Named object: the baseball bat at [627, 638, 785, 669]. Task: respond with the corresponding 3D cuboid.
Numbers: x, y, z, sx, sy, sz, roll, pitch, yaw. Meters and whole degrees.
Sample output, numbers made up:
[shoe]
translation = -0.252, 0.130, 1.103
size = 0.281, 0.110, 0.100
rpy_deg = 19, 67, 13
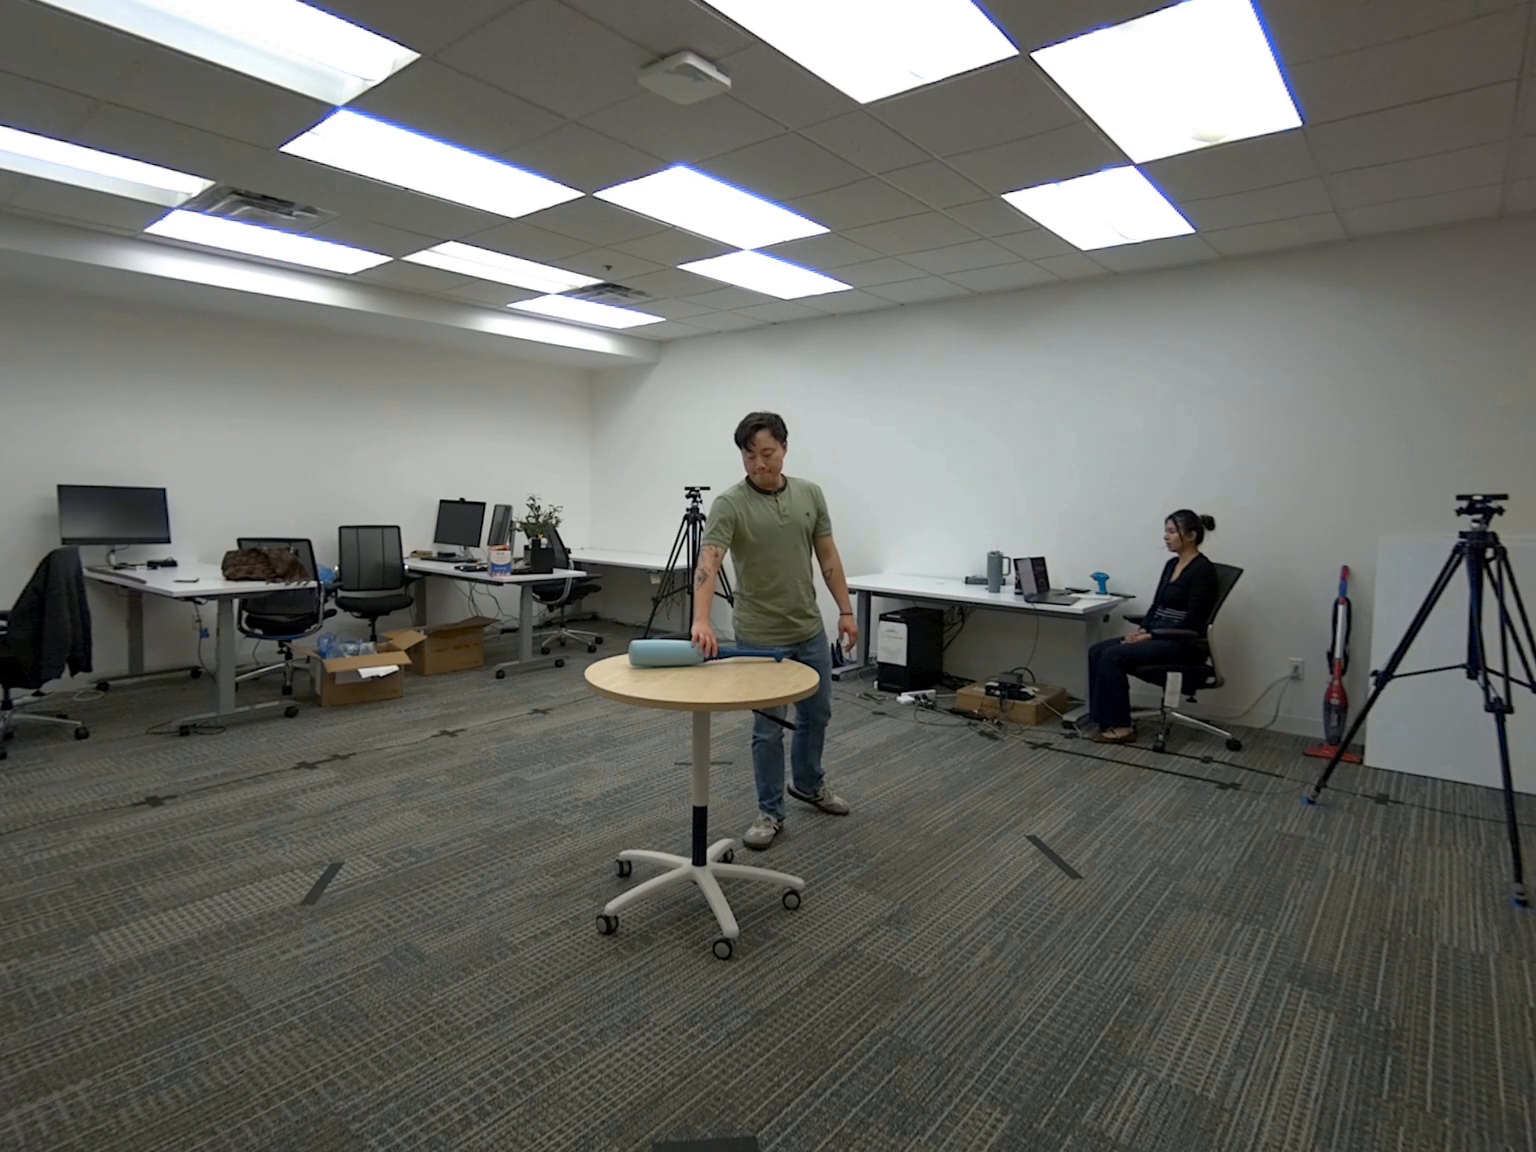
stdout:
[baseball bat]
translation = -0.211, 0.264, 2.913
size = 0.535, 0.089, 0.090
rpy_deg = 2, 4, -13
